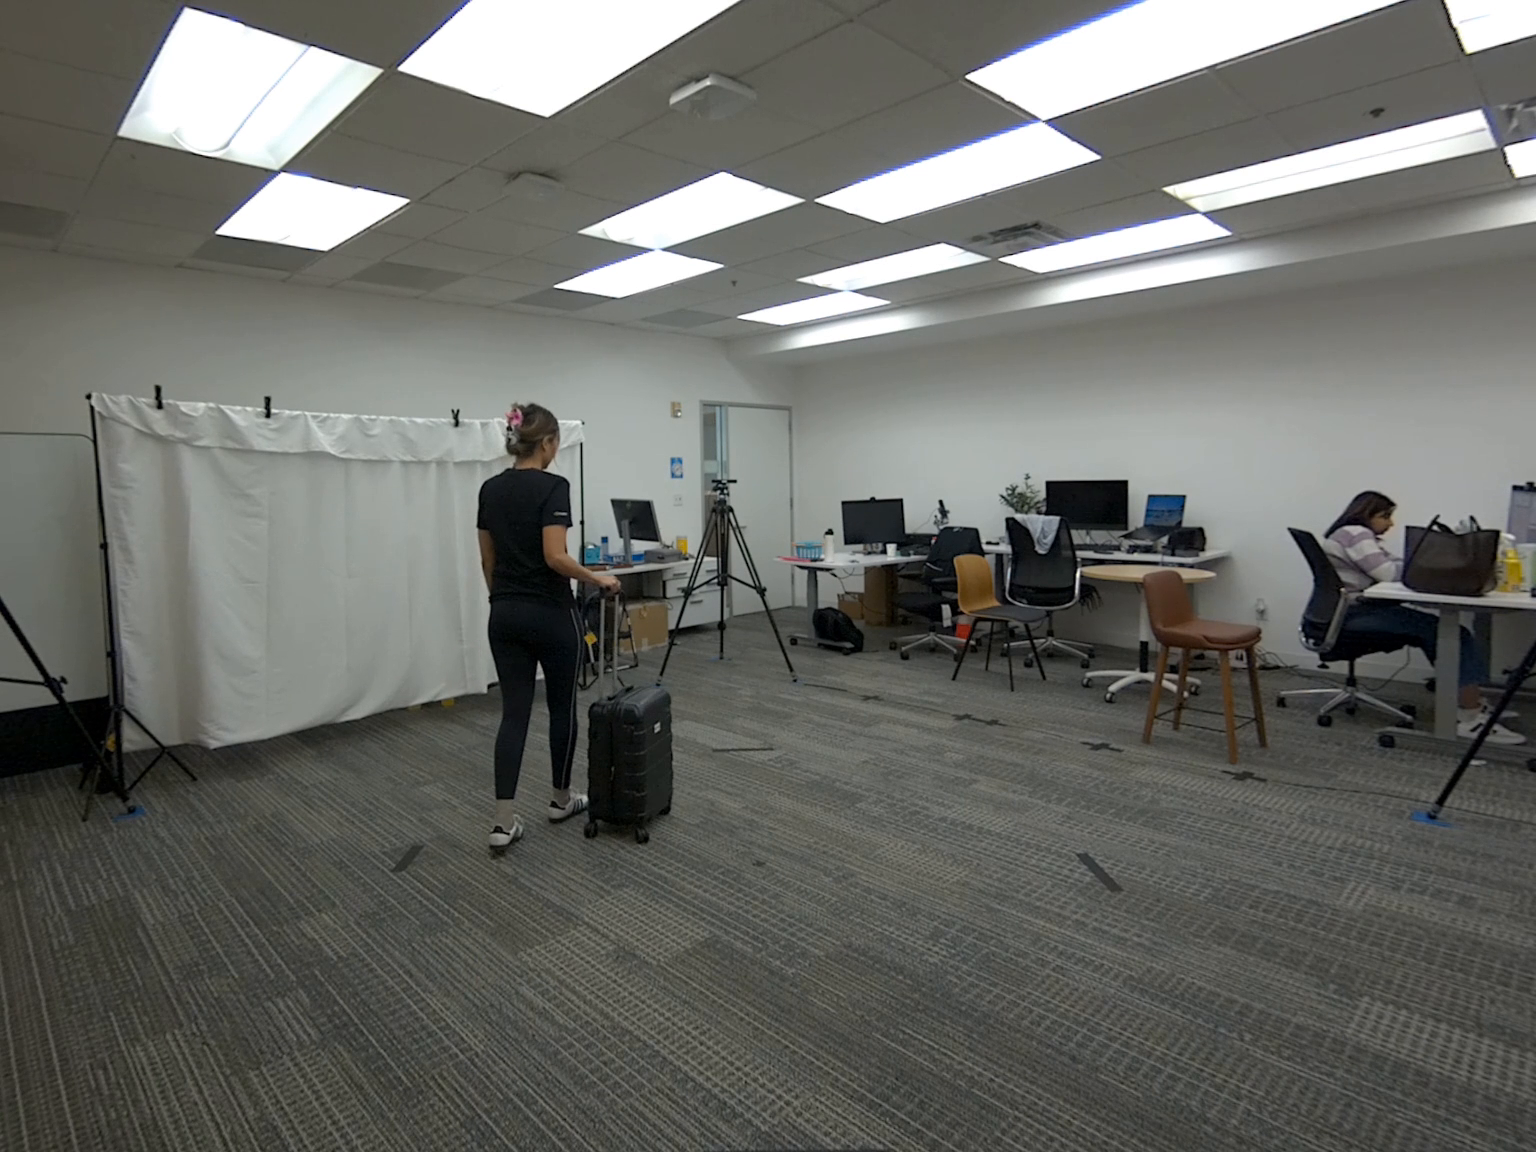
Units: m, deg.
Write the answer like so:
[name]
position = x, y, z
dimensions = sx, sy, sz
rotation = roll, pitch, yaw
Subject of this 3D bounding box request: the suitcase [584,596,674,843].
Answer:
[suitcase]
position = -0.545, 0.543, 3.485
dimensions = 0.261, 0.976, 0.379
rotation = 3, 3, 14
